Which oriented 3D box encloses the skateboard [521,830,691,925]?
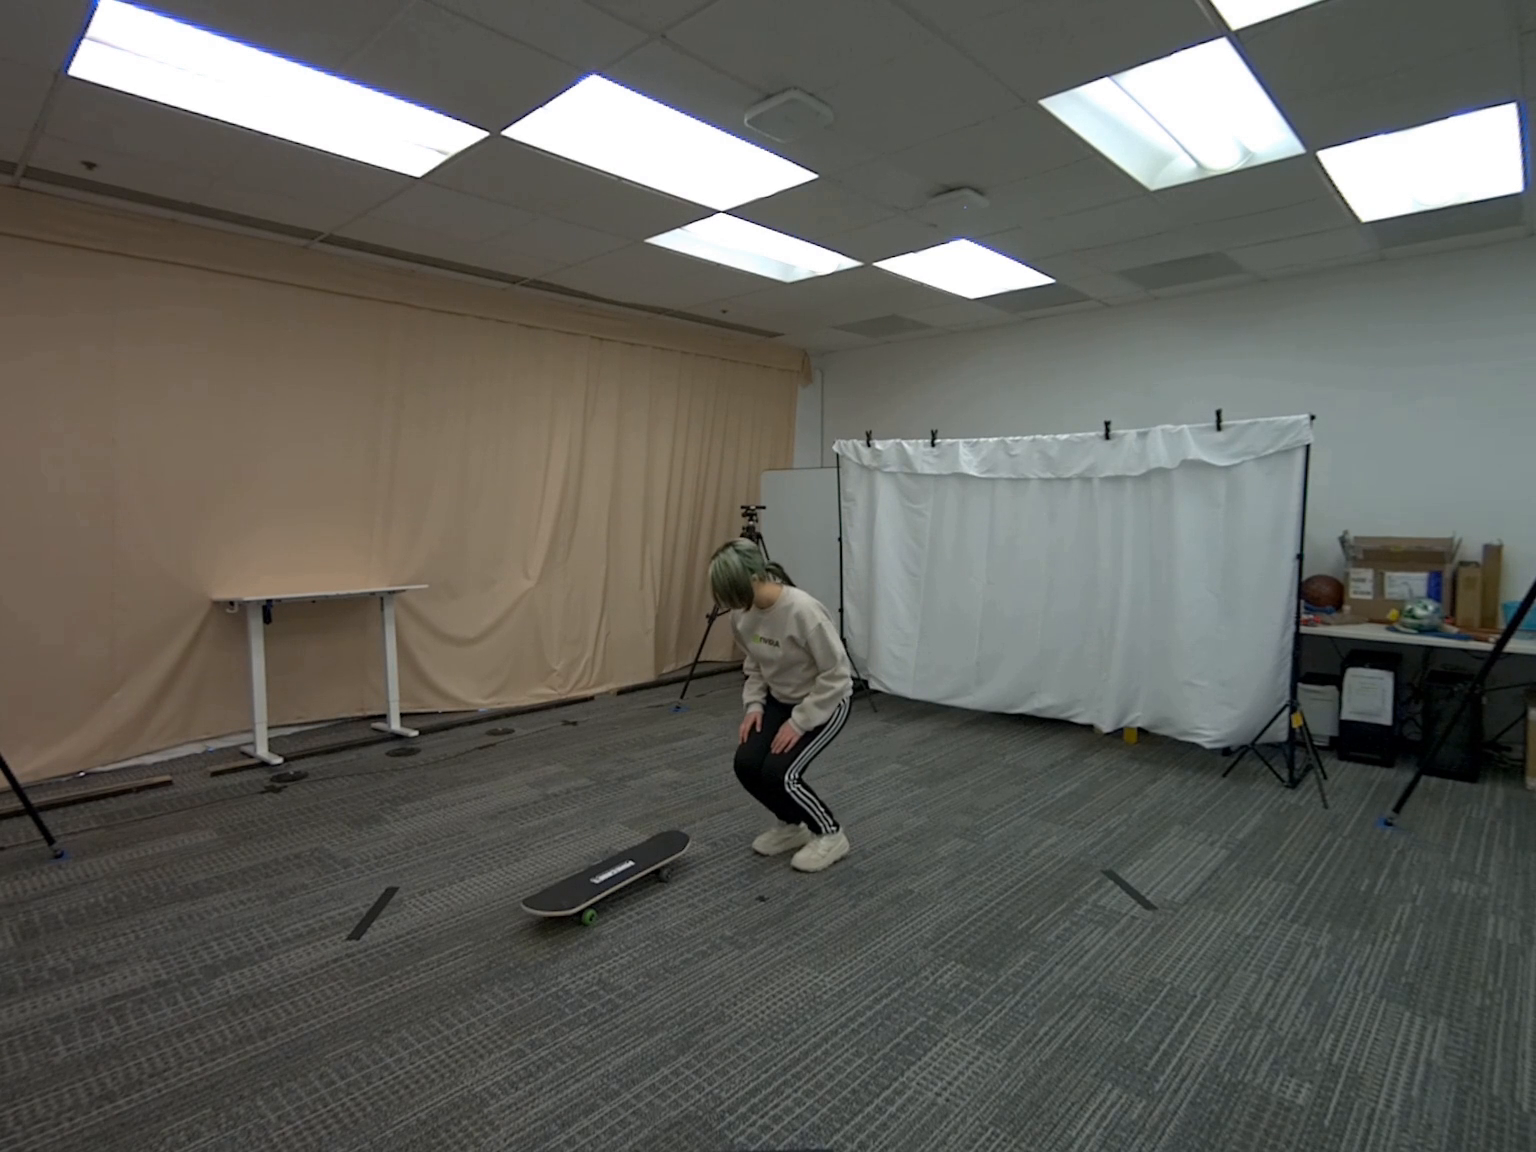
[{"bbox_3d":[-0.556,1.090,3.013,0.199,0.110,0.763,2,5,33],"label":"skateboard"}]
